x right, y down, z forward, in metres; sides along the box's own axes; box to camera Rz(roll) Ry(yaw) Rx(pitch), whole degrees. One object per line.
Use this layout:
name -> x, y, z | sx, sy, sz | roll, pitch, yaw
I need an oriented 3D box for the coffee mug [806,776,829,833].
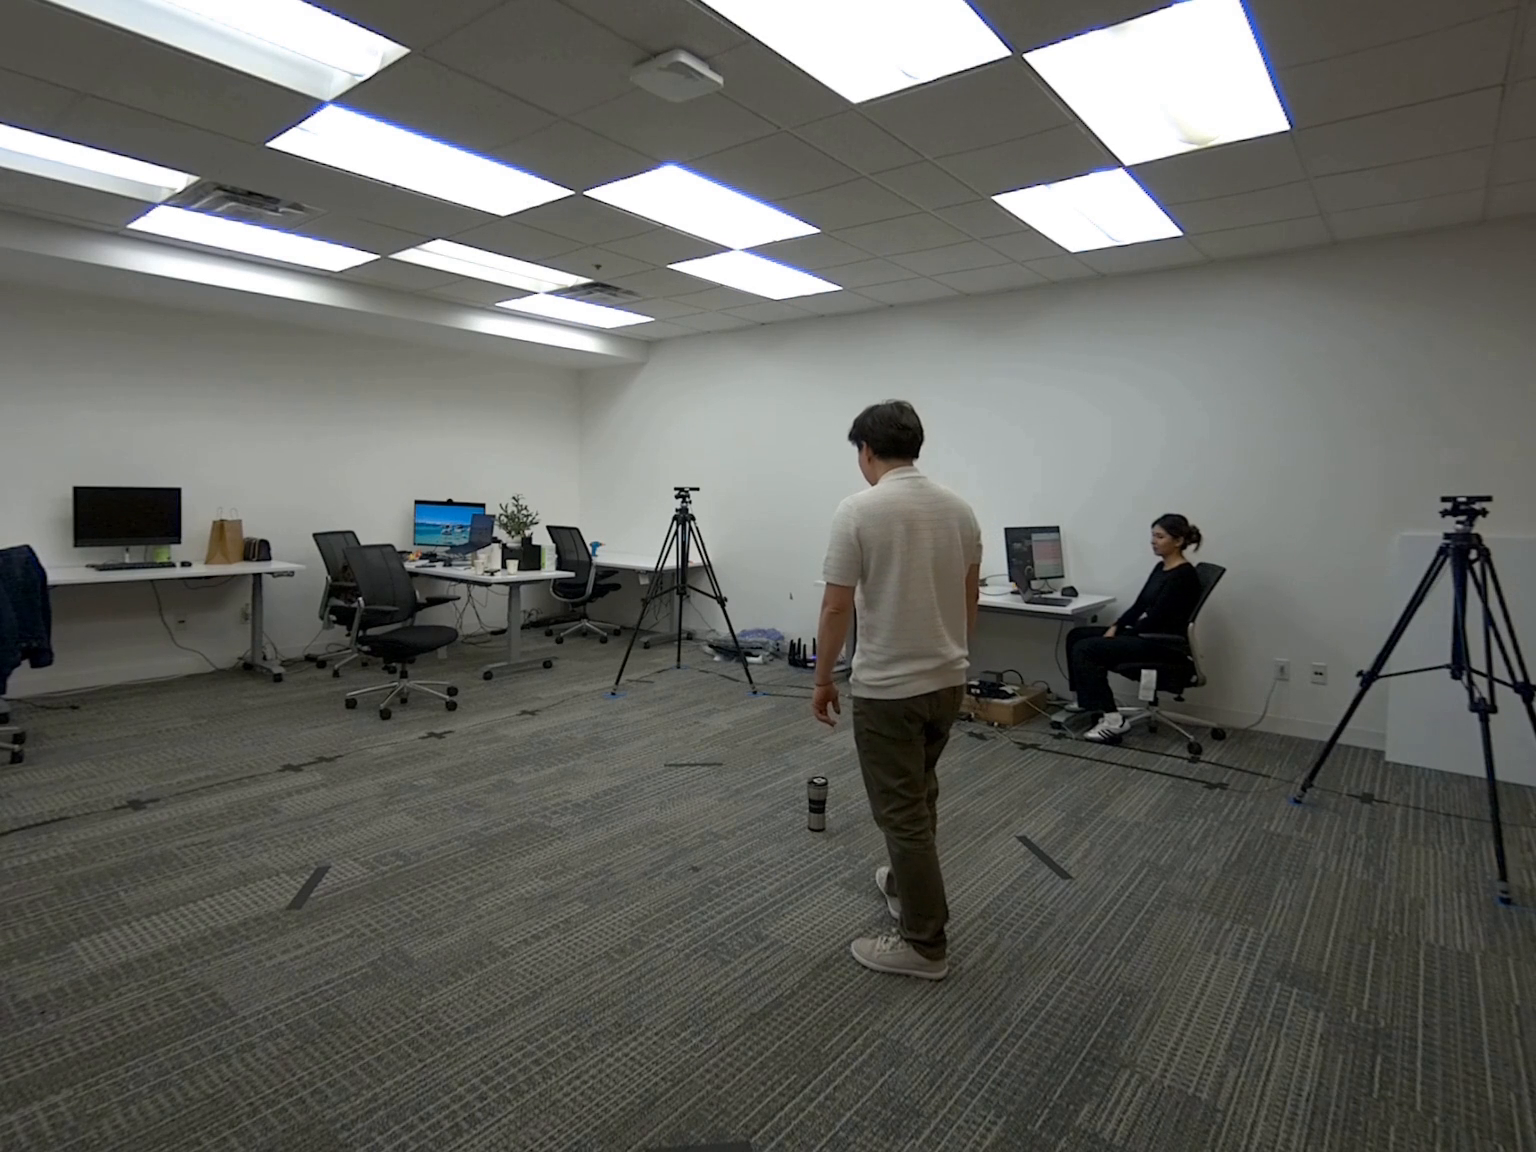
coffee mug -> 0.206, 0.934, 3.513 | 0.090, 0.202, 0.119 | 1, 5, 30
